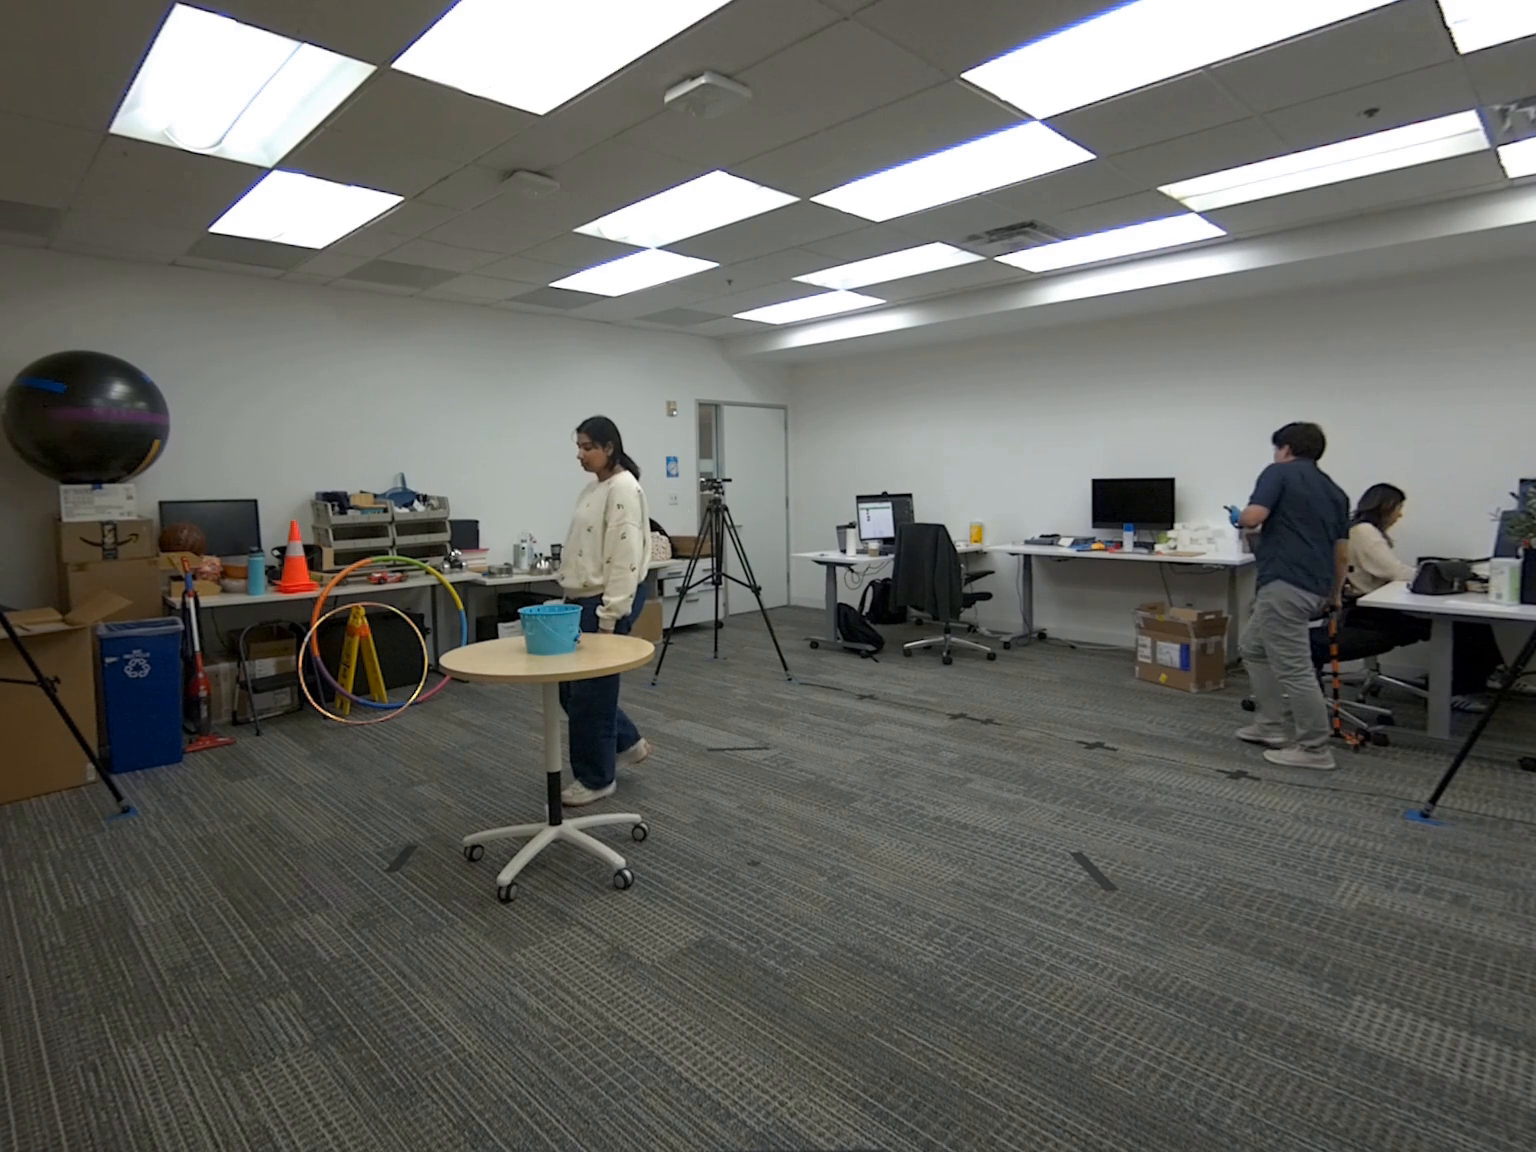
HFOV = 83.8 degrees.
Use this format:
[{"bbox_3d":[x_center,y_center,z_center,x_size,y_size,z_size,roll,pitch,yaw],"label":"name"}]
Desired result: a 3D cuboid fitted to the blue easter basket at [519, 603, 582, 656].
[{"bbox_3d":[-0.813,0.202,3.144,0.243,0.155,0.245,-3,5,-1],"label":"blue easter basket"}]
